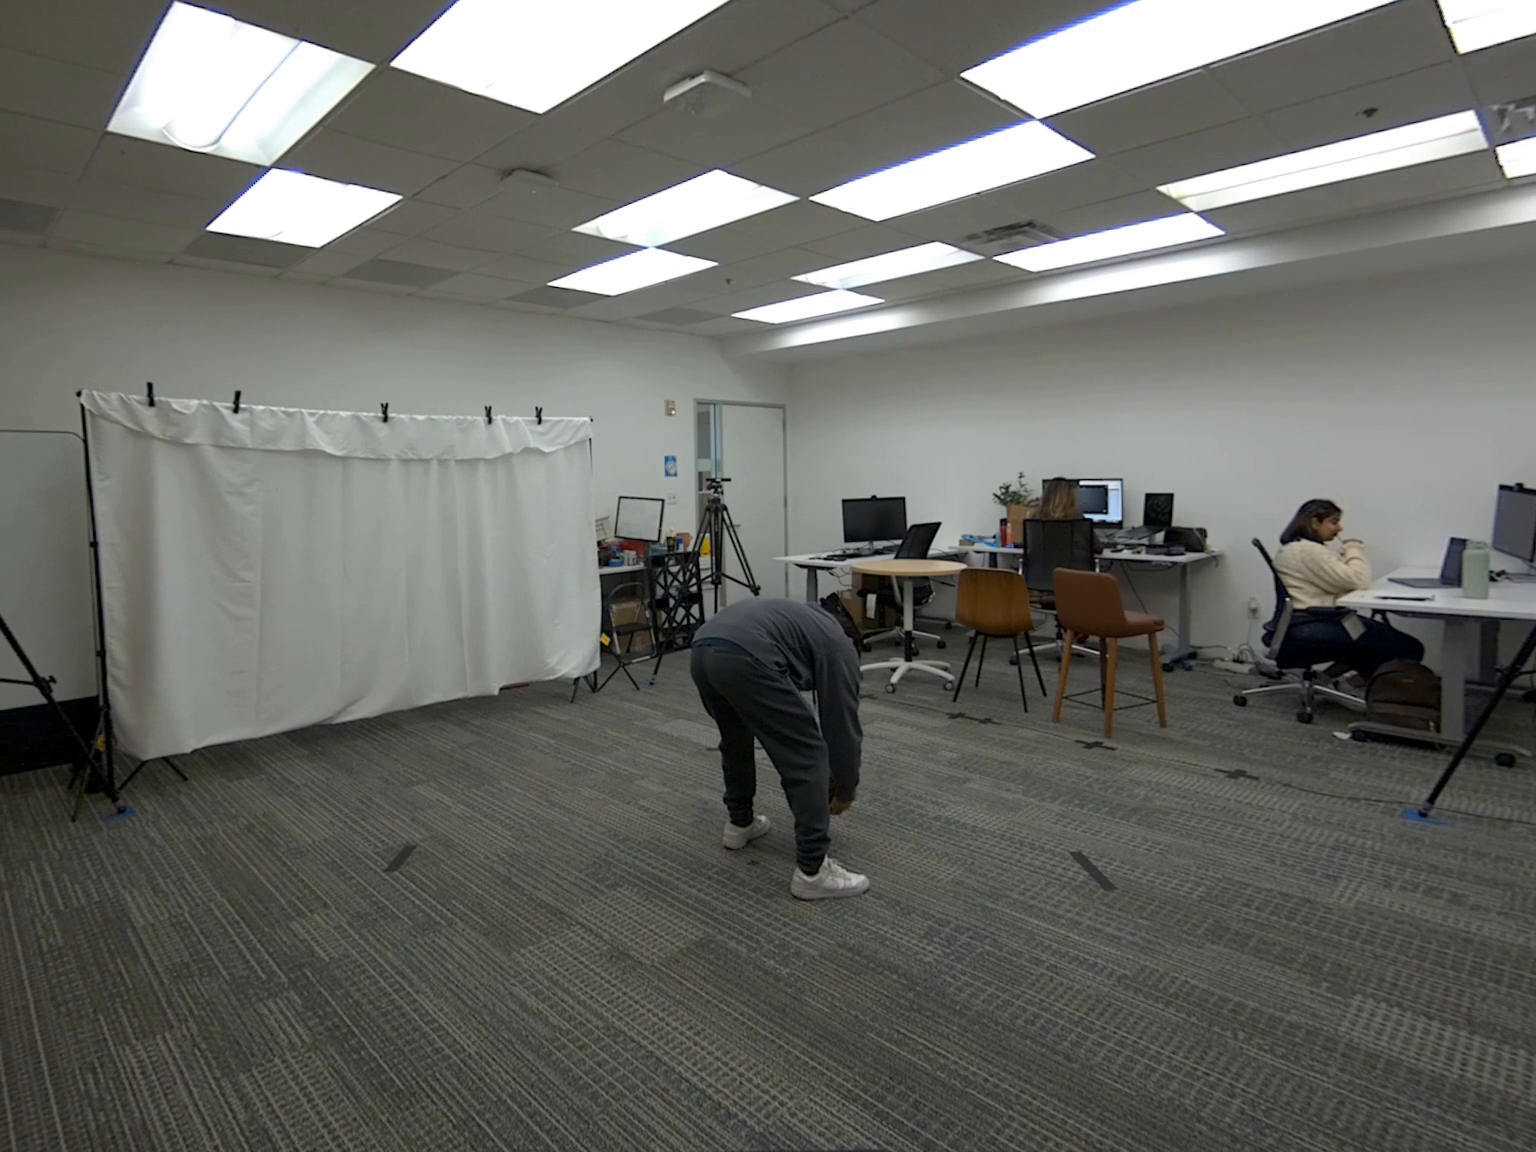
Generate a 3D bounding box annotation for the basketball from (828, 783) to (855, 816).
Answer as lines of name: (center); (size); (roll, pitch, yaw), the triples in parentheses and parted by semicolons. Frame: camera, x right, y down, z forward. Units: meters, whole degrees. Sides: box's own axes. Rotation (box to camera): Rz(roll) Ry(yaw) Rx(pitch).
basketball: (0.226, 0.782, 3.305); (0.236, 0.235, 0.237); (-1, 5, -2)
